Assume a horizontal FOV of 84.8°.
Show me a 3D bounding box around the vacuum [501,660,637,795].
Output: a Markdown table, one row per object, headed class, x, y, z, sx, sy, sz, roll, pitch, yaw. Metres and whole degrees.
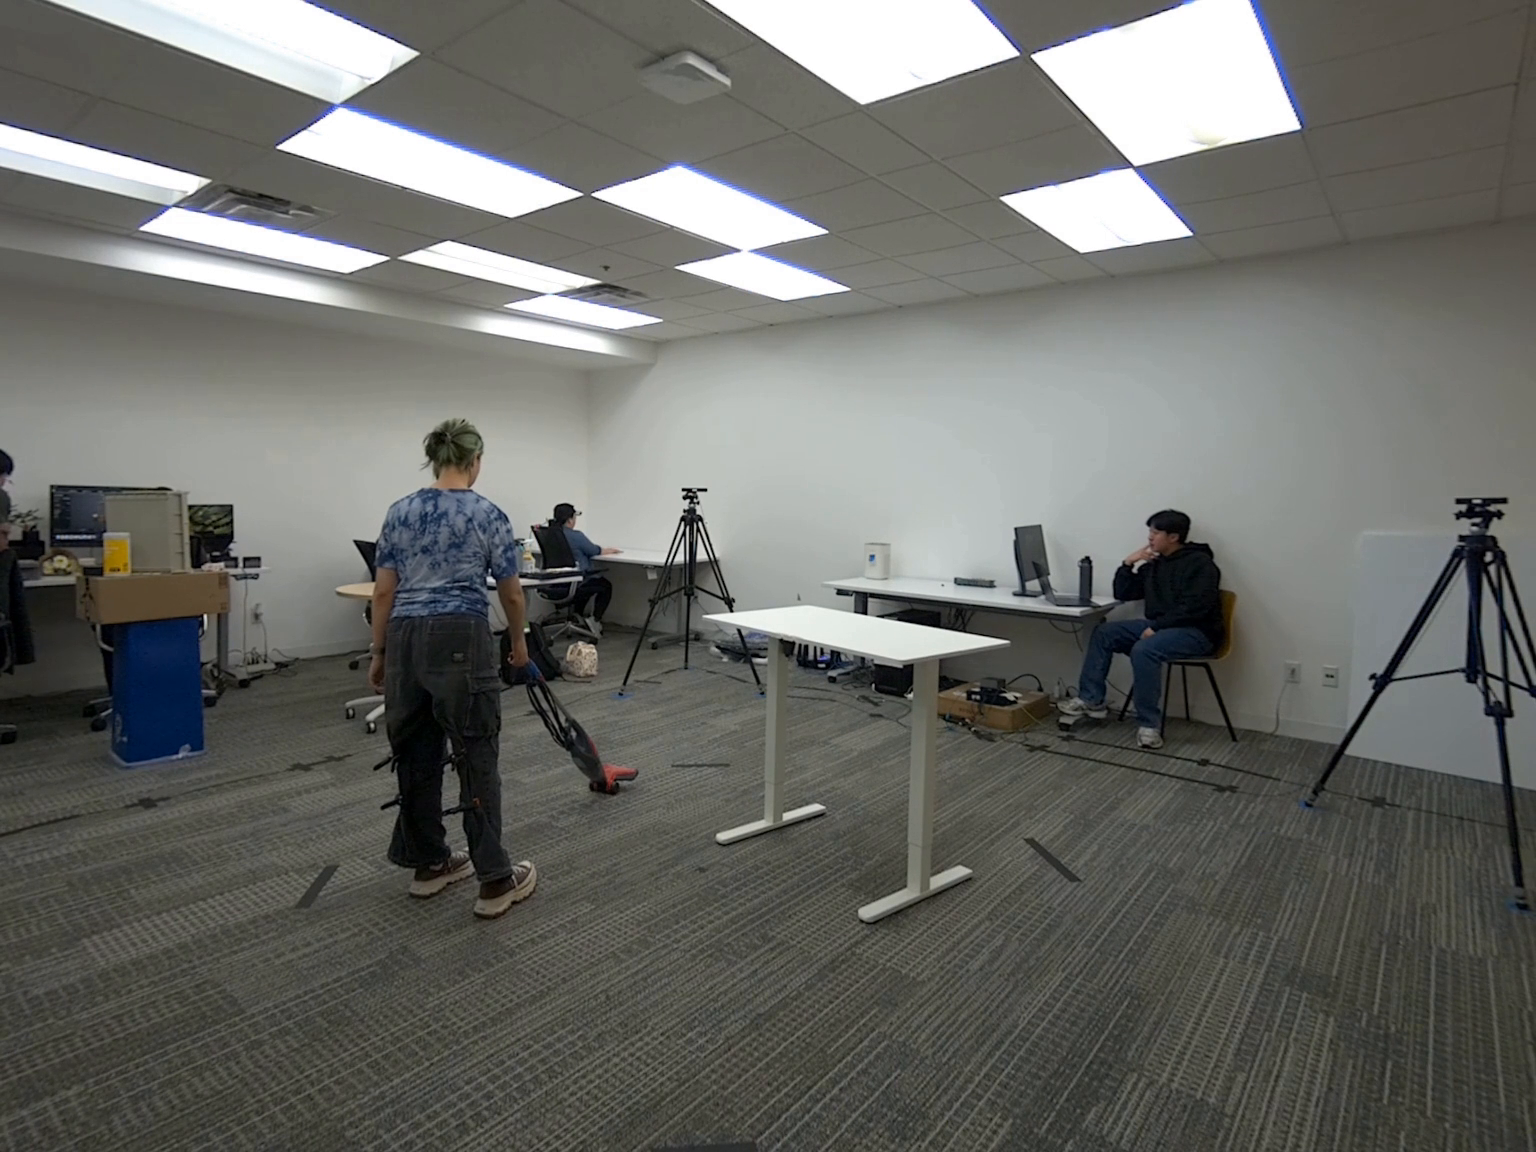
| class | x | y | z | sx | sy | sz | roll | pitch | yaw |
| --- | --- | --- | --- | --- | --- | --- | --- | --- | --- |
| vacuum | -0.877 | 0.633 | 3.571 | 0.259 | 0.146 | 1.009 | 3 | -37 | 22 |
